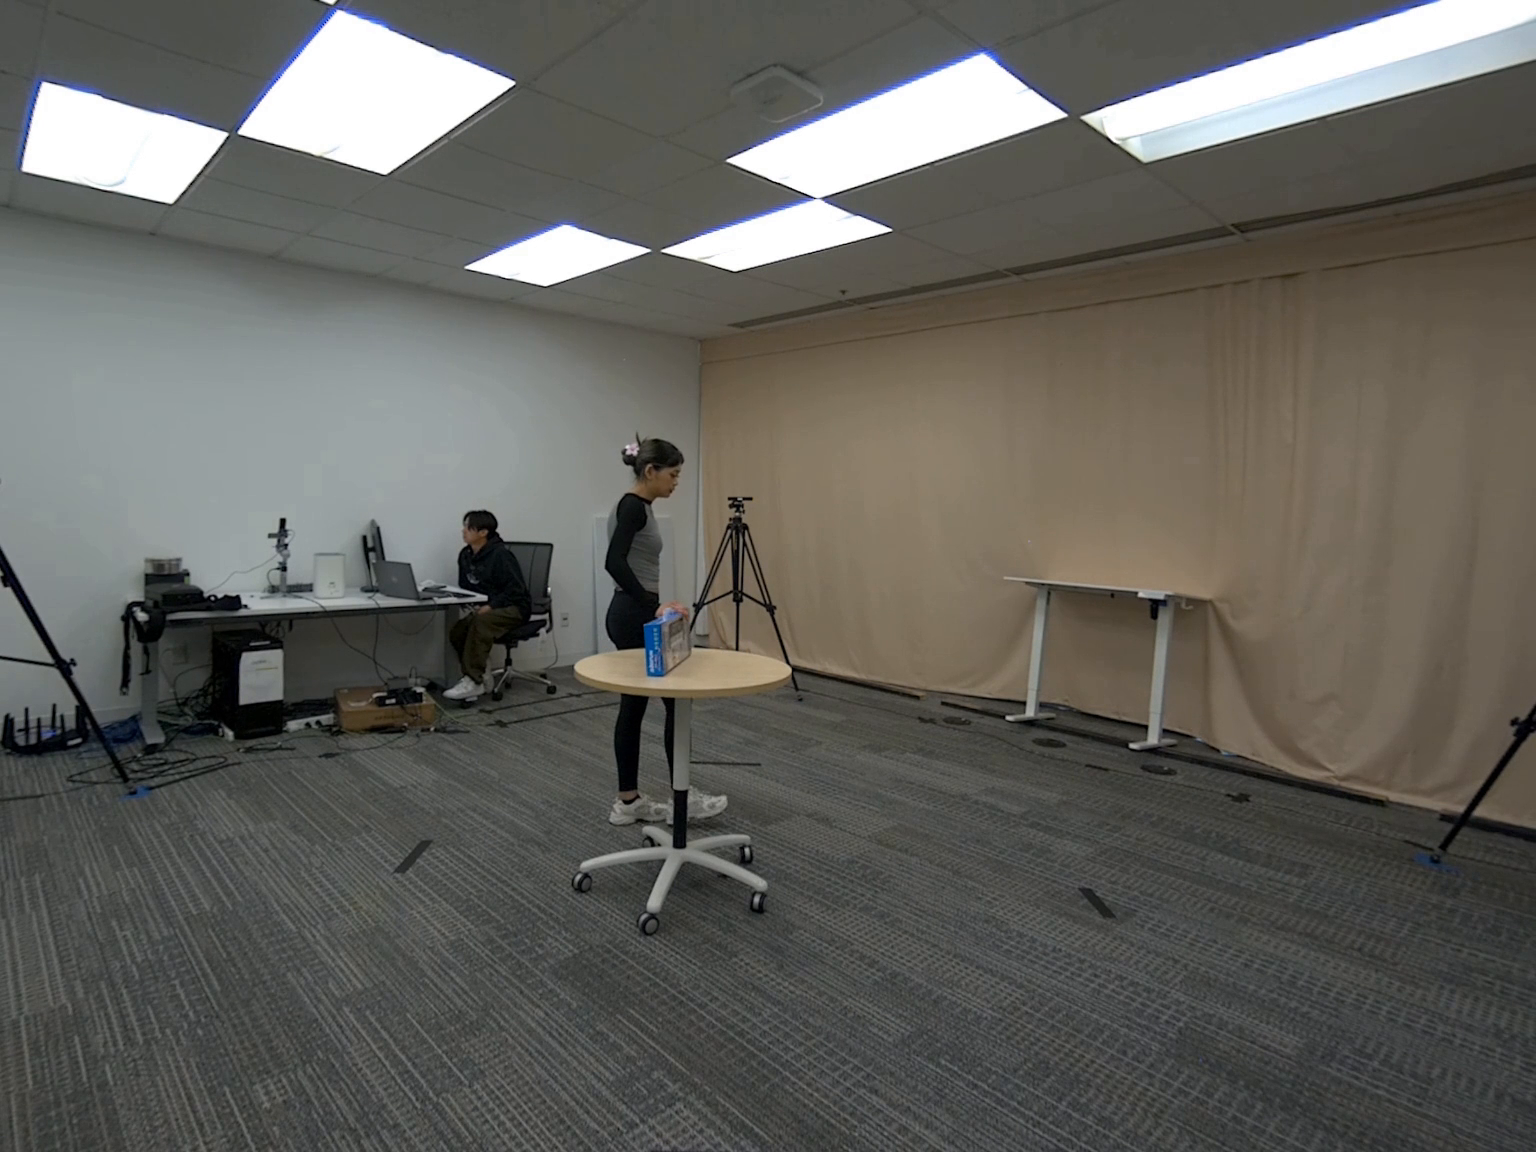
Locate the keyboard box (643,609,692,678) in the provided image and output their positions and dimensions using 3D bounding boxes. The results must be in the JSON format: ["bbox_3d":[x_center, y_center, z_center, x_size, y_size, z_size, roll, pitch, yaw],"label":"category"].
[{"bbox_3d":[-0.355,0.229,2.999,0.059,0.175,0.435,-1,4,6],"label":"keyboard box"}]
